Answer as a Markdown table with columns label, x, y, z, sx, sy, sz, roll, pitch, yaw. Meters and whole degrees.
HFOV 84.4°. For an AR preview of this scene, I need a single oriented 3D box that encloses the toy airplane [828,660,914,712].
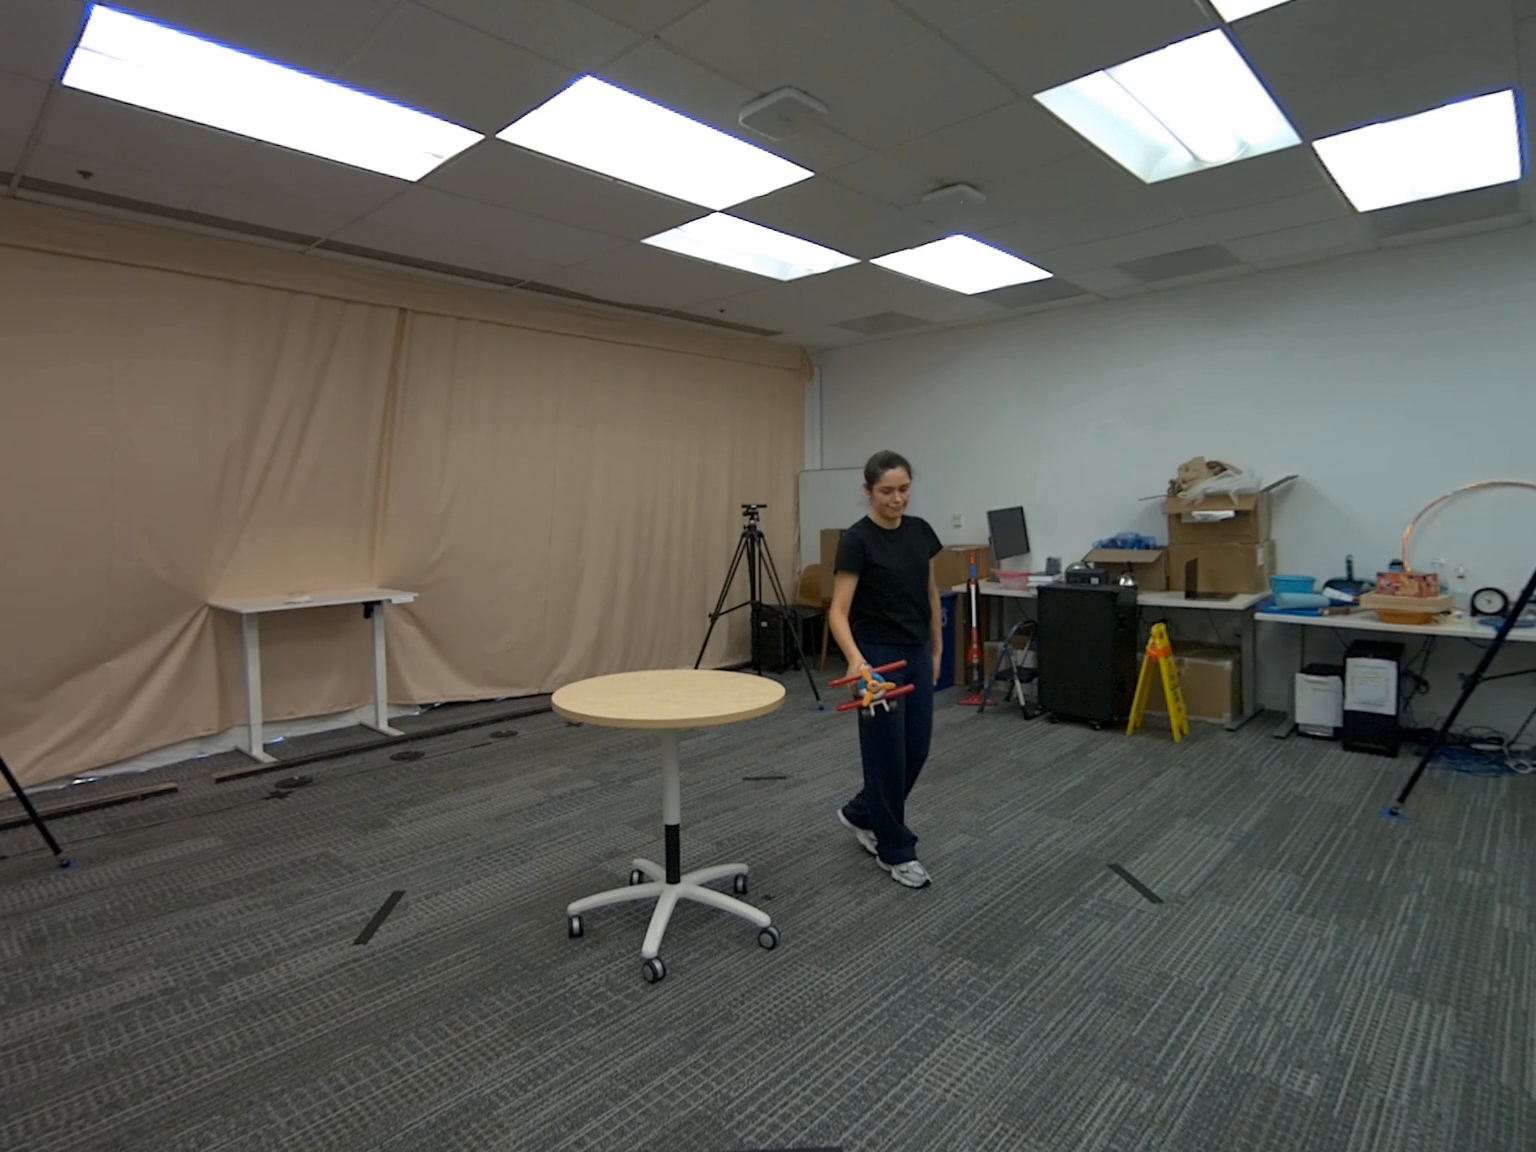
| label | x | y | z | sx | sy | sz | roll | pitch | yaw |
| --- | --- | --- | --- | --- | --- | --- | --- | --- | --- |
| toy airplane | 0.319 | 0.368 | 2.718 | 0.246 | 0.155 | 0.266 | -20 | 8 | -27 |
